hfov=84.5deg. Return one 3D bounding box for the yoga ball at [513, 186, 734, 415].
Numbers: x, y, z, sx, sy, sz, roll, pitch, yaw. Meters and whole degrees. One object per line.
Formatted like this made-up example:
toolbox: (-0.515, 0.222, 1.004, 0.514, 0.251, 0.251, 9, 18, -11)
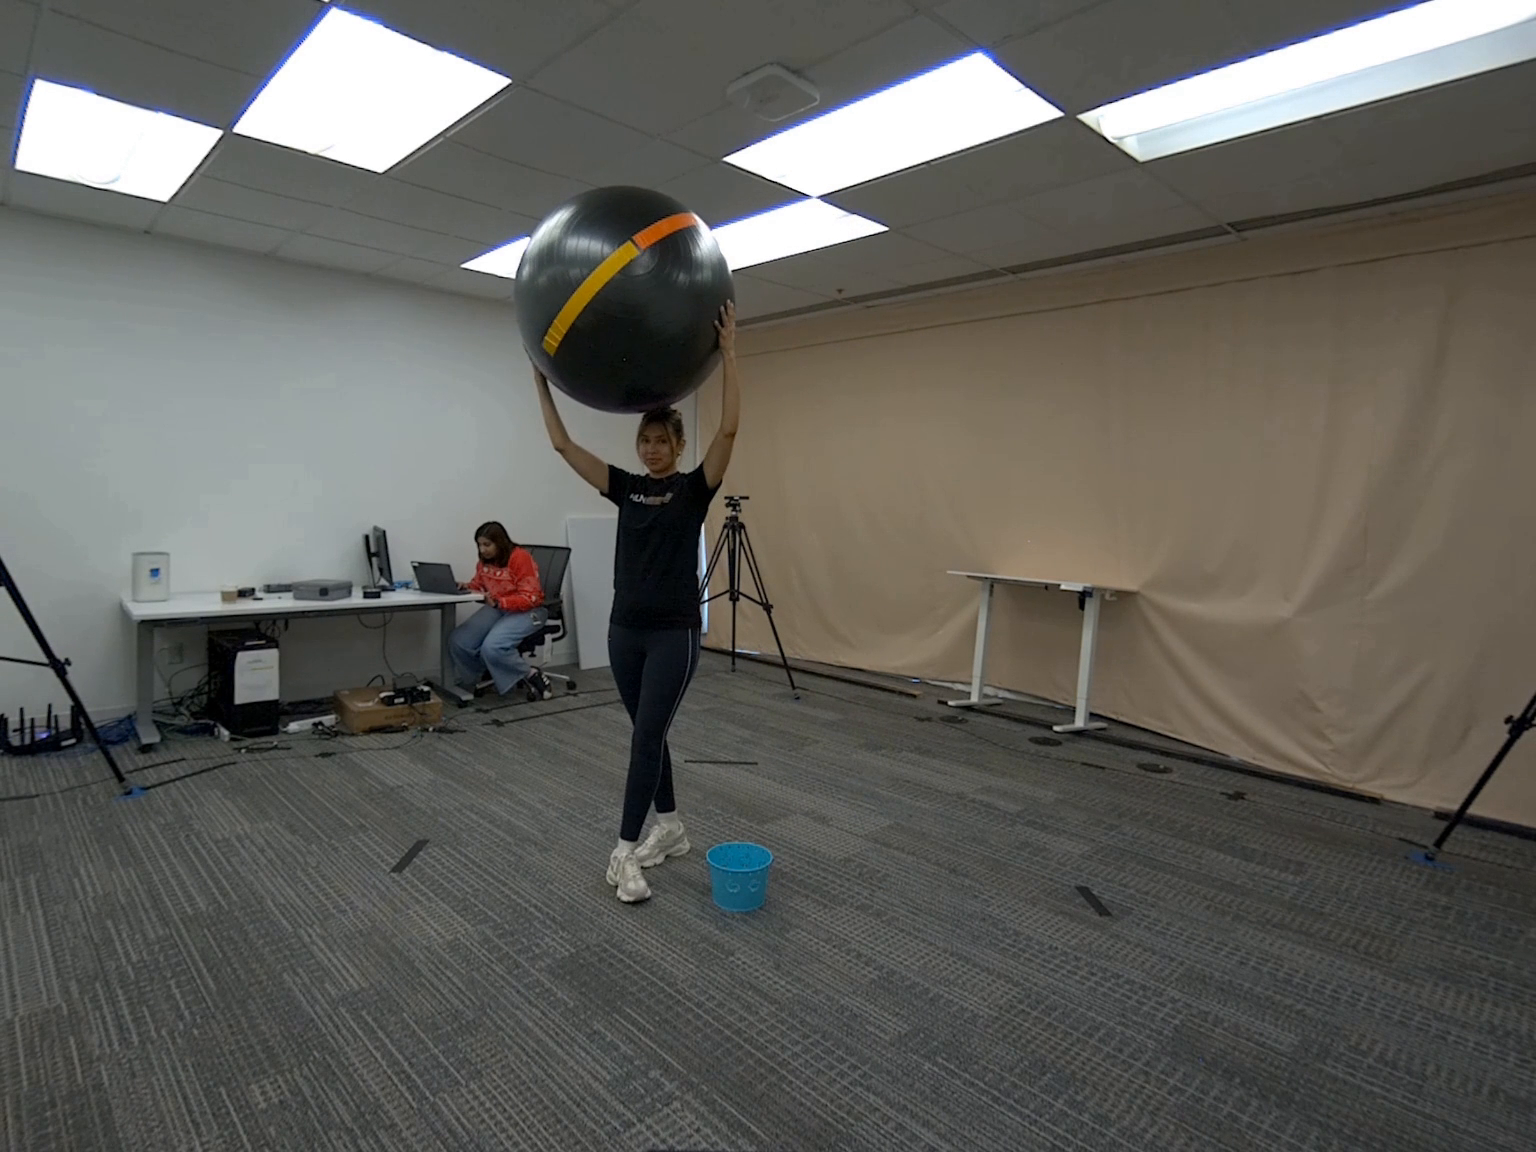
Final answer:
yoga ball: (-0.494, -0.937, 2.911, 0.757, 0.756, 0.761, 1, 4, -1)
